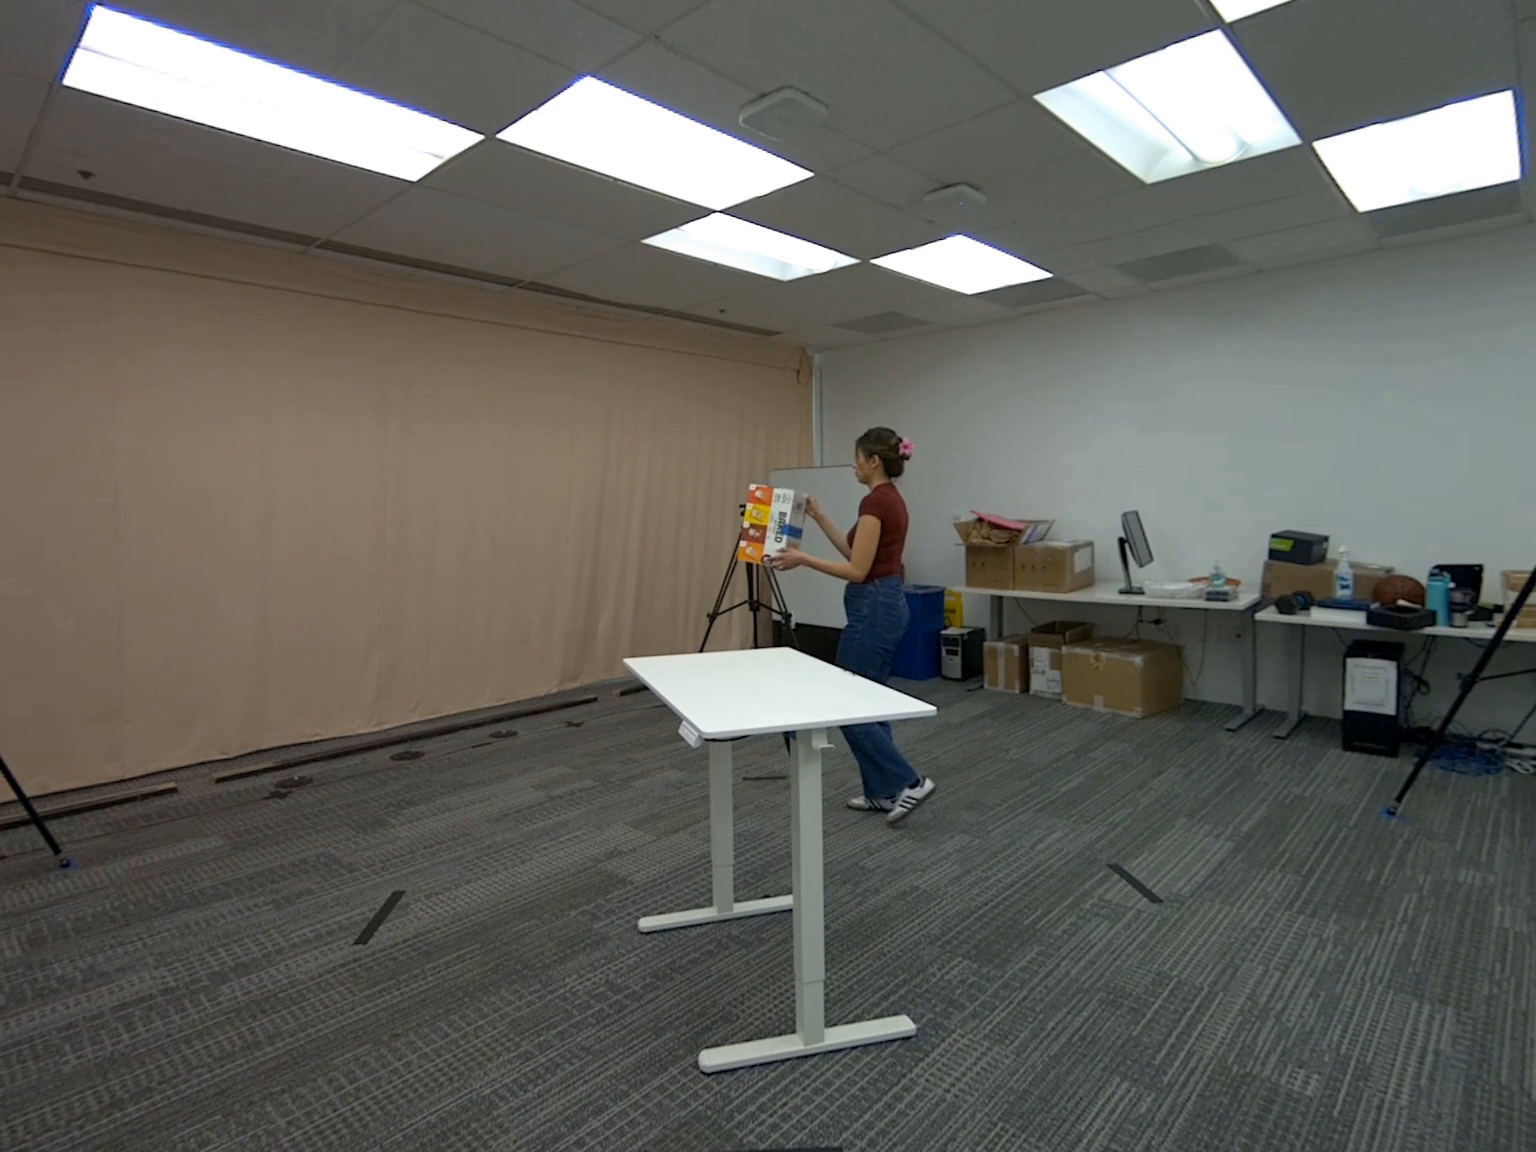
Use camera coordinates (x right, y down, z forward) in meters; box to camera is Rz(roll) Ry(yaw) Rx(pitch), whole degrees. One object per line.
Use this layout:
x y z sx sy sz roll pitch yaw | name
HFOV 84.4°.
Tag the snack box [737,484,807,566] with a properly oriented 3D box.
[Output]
0.027 -0.219 3.859 0.209 0.340 0.399 9 1 12 | snack box
